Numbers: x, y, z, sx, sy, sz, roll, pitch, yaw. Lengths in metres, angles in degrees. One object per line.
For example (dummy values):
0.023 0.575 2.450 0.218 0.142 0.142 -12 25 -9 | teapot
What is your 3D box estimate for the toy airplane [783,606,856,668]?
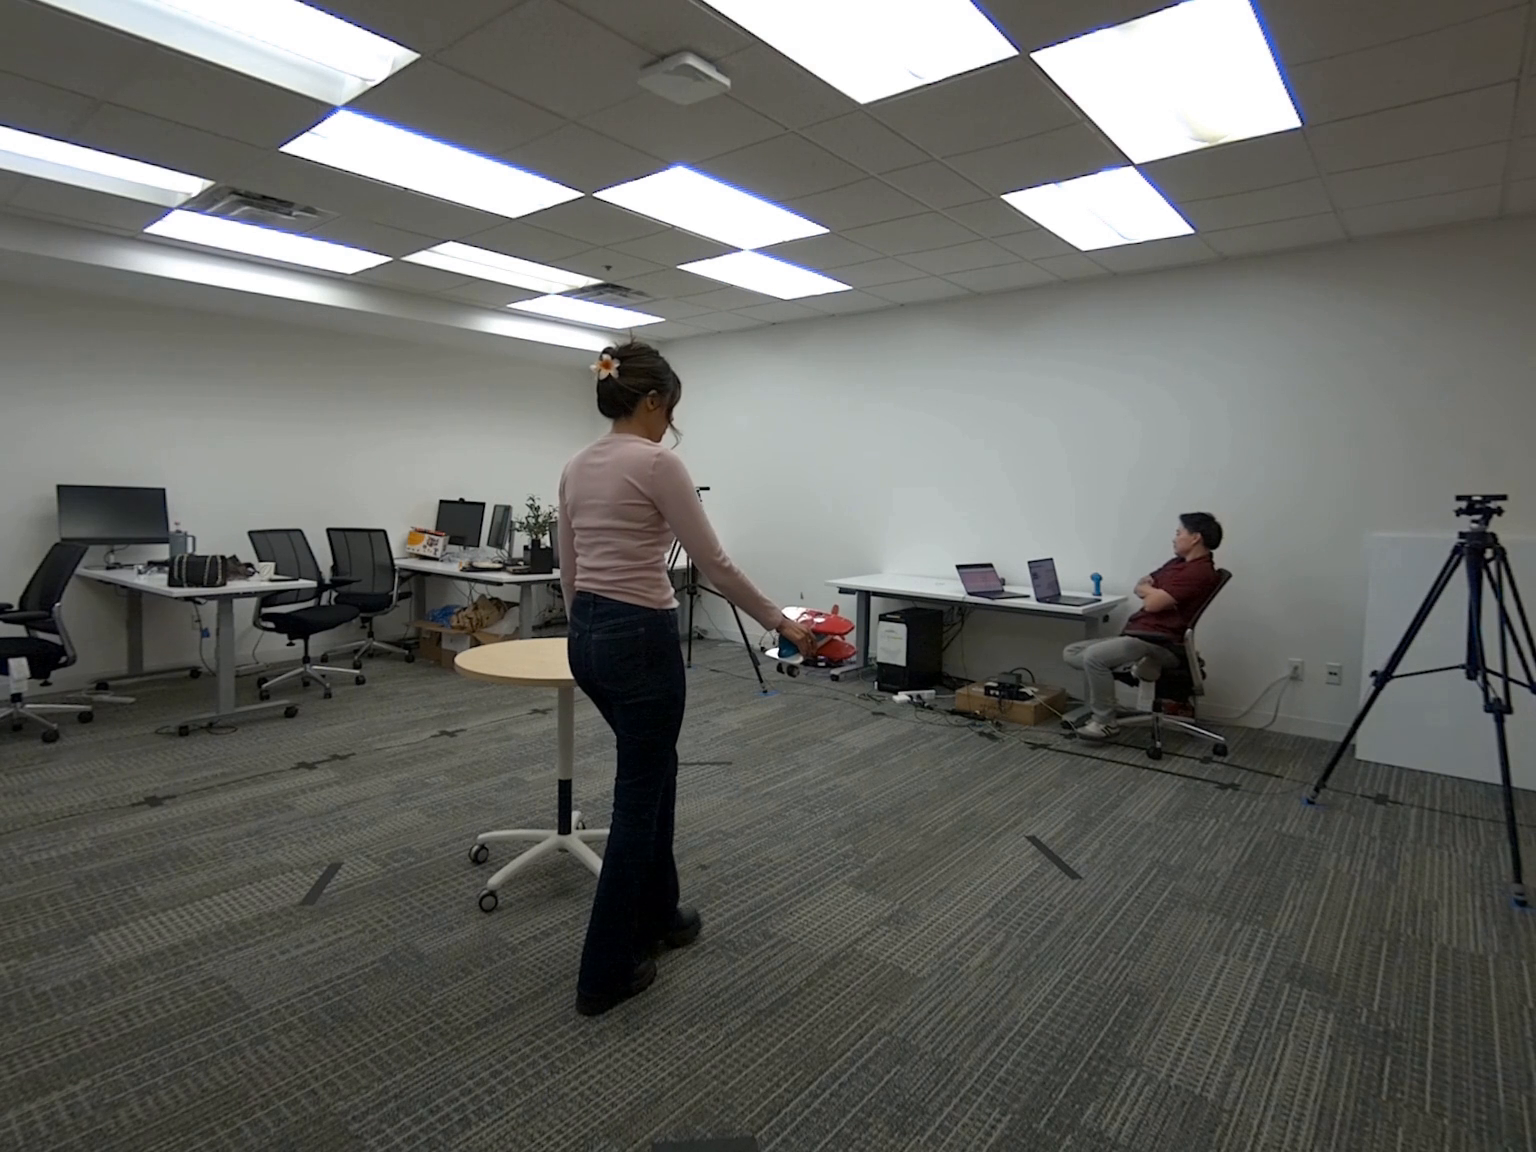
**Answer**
0.123 0.196 2.445 0.254 0.155 0.258 4 10 11 | toy airplane
